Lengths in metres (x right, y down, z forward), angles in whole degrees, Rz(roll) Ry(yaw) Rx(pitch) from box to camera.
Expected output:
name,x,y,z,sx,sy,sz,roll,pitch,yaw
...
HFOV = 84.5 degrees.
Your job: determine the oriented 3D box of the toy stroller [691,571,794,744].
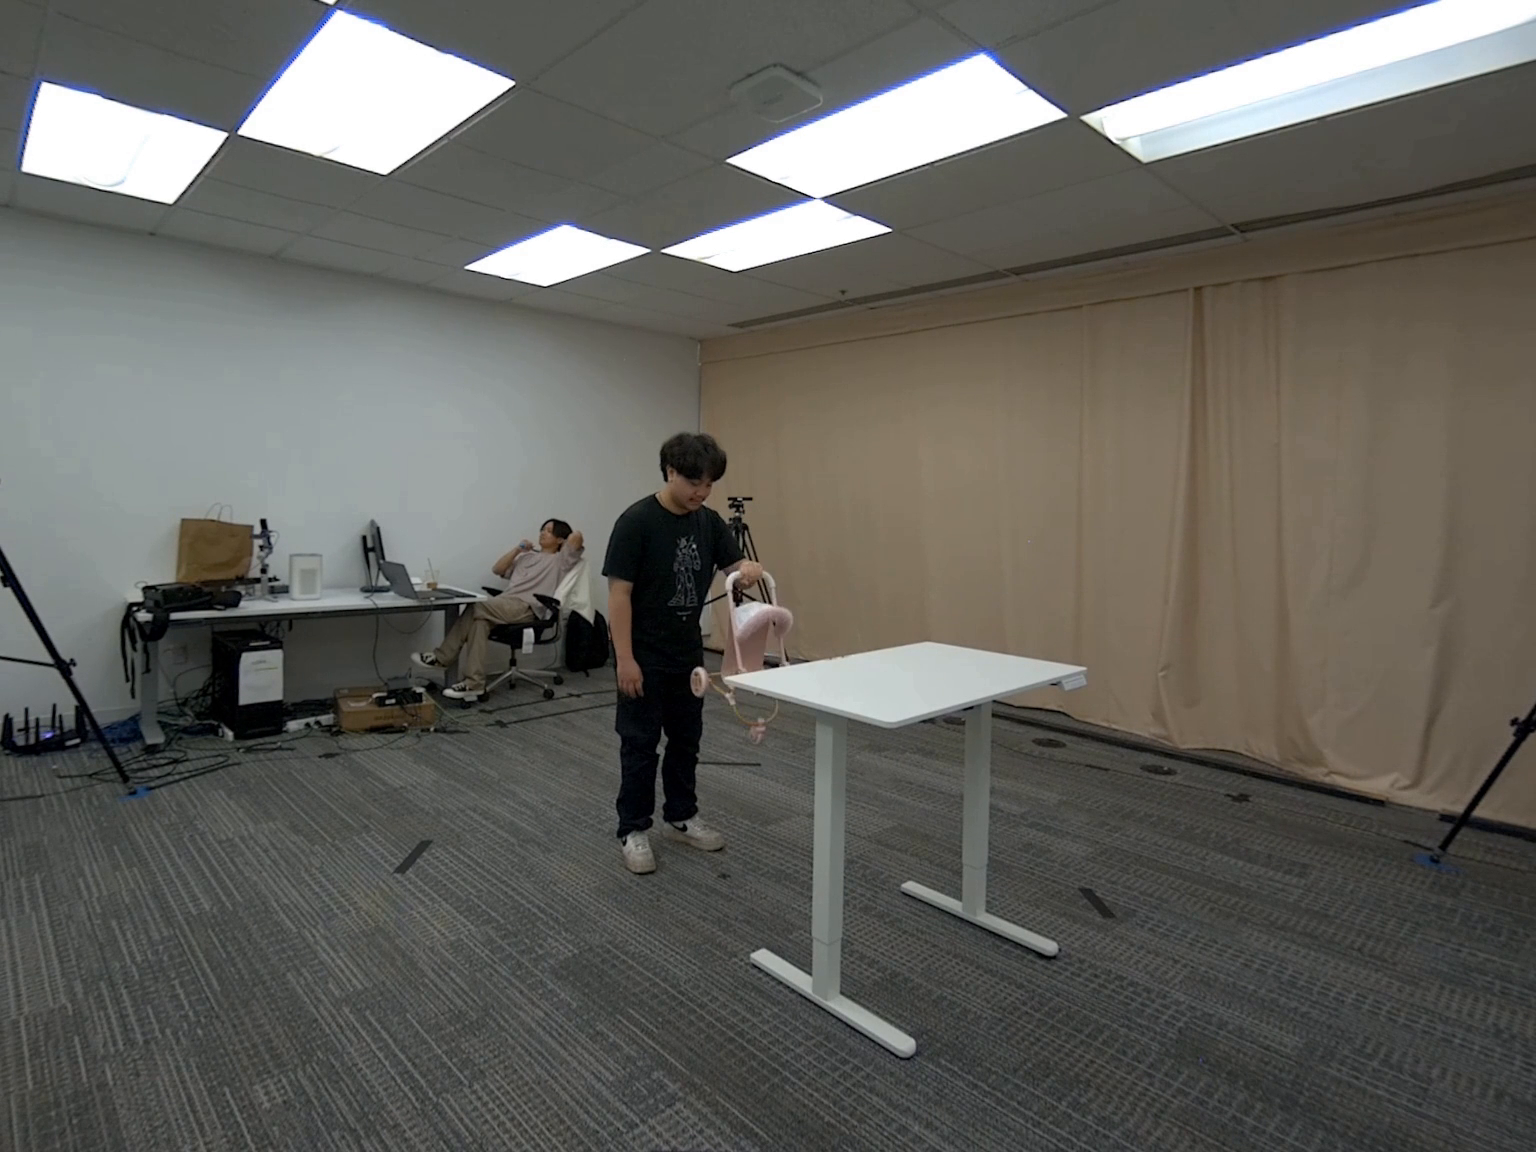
name,x,y,z,sx,sy,sz,roll,pitch,yaw
toy stroller,-0.064,0.301,2.997,0.275,0.529,0.352,2,26,-31
